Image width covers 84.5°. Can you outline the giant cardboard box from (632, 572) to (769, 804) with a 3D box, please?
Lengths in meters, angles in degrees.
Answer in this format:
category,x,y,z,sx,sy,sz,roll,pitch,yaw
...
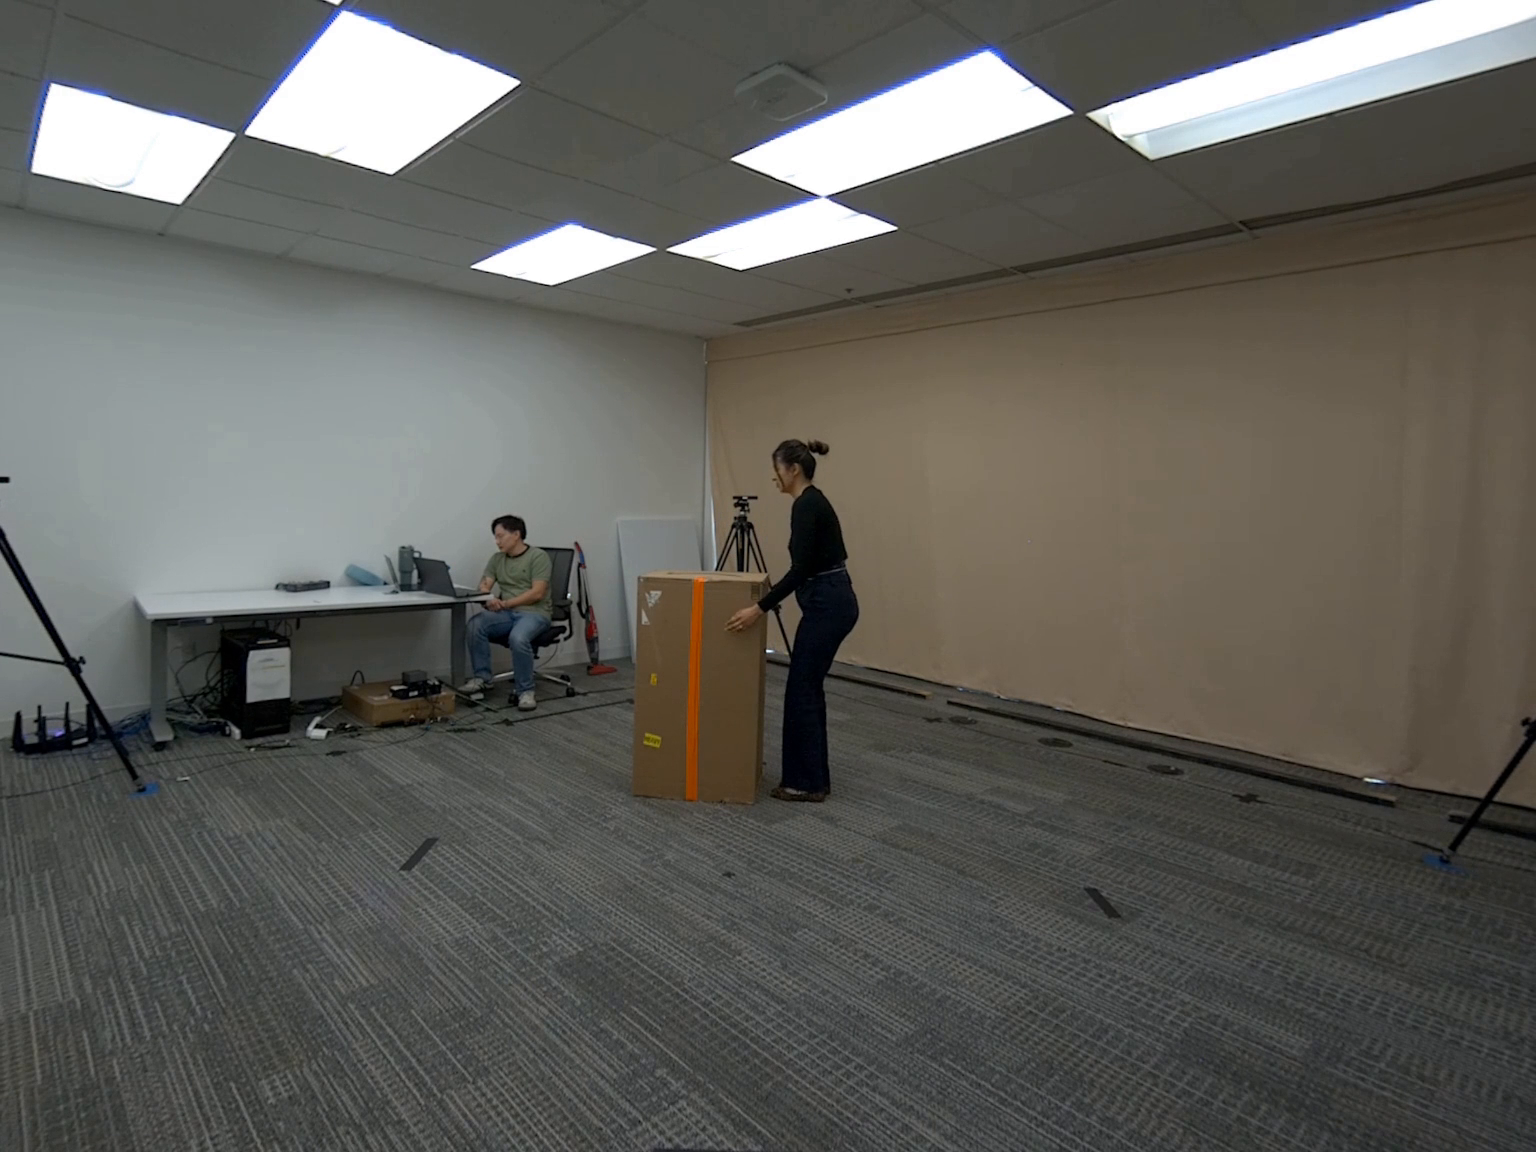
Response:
category,x,y,z,sx,sy,sz,roll,pitch,yaw
giant cardboard box,-0.320,0.505,4.042,0.581,1.023,0.424,3,3,7
